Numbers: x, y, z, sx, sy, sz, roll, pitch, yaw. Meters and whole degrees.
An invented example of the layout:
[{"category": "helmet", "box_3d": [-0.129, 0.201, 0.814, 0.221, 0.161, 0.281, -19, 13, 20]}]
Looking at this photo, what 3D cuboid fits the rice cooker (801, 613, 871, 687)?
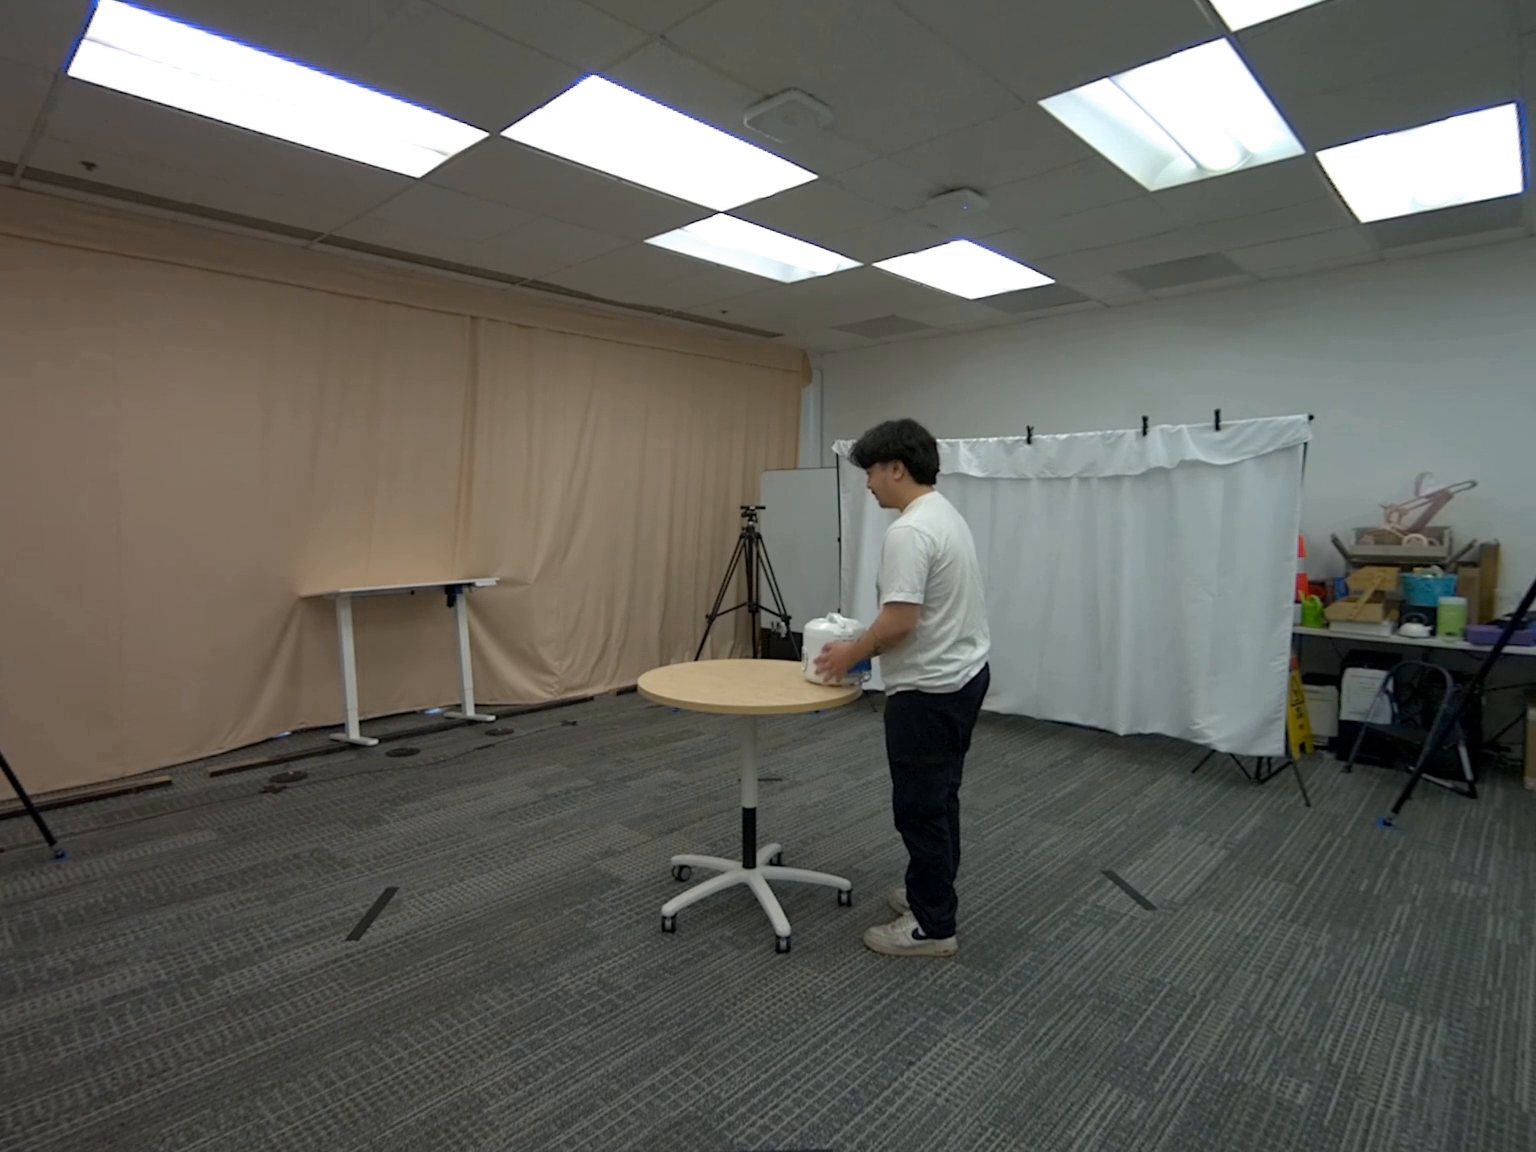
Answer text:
[{"category": "rice cooker", "box_3d": [0.230, 0.245, 2.861, 0.215, 0.232, 0.223, 1, 3, -11]}]
